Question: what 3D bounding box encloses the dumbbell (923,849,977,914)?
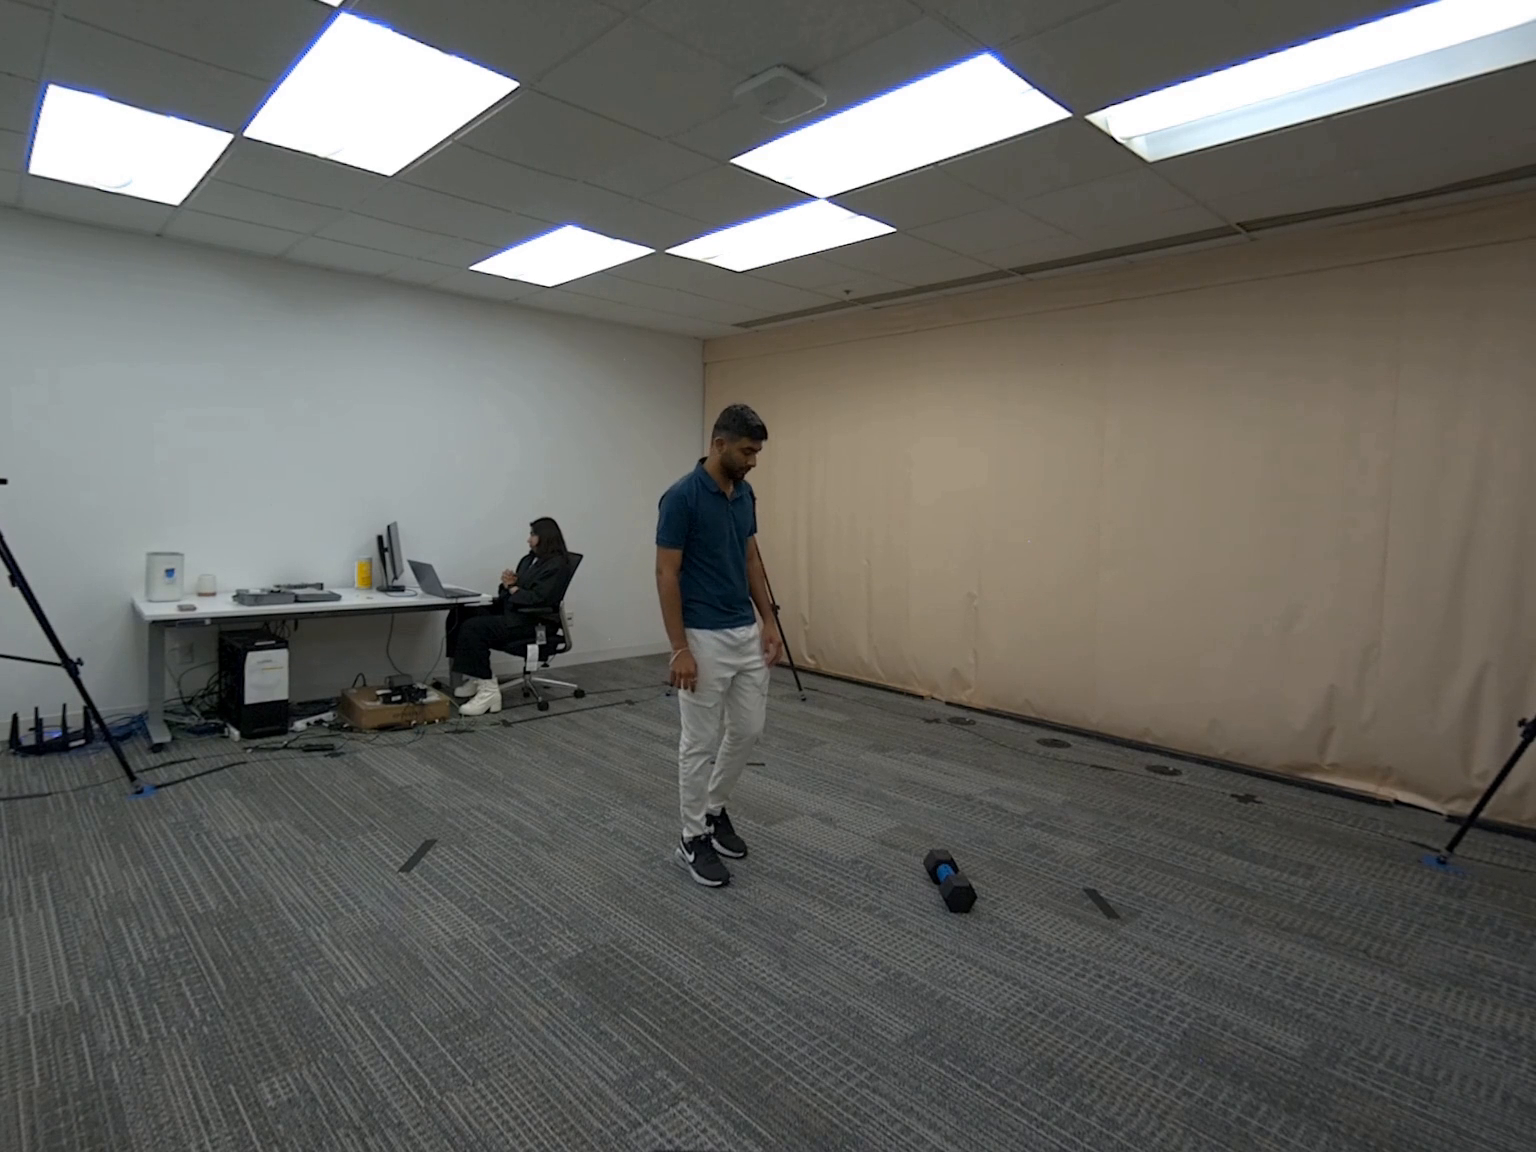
[{"bbox_3d":[0.639,1.082,3.002,0.123,0.108,0.295,3,5,-3],"label":"dumbbell"}]
